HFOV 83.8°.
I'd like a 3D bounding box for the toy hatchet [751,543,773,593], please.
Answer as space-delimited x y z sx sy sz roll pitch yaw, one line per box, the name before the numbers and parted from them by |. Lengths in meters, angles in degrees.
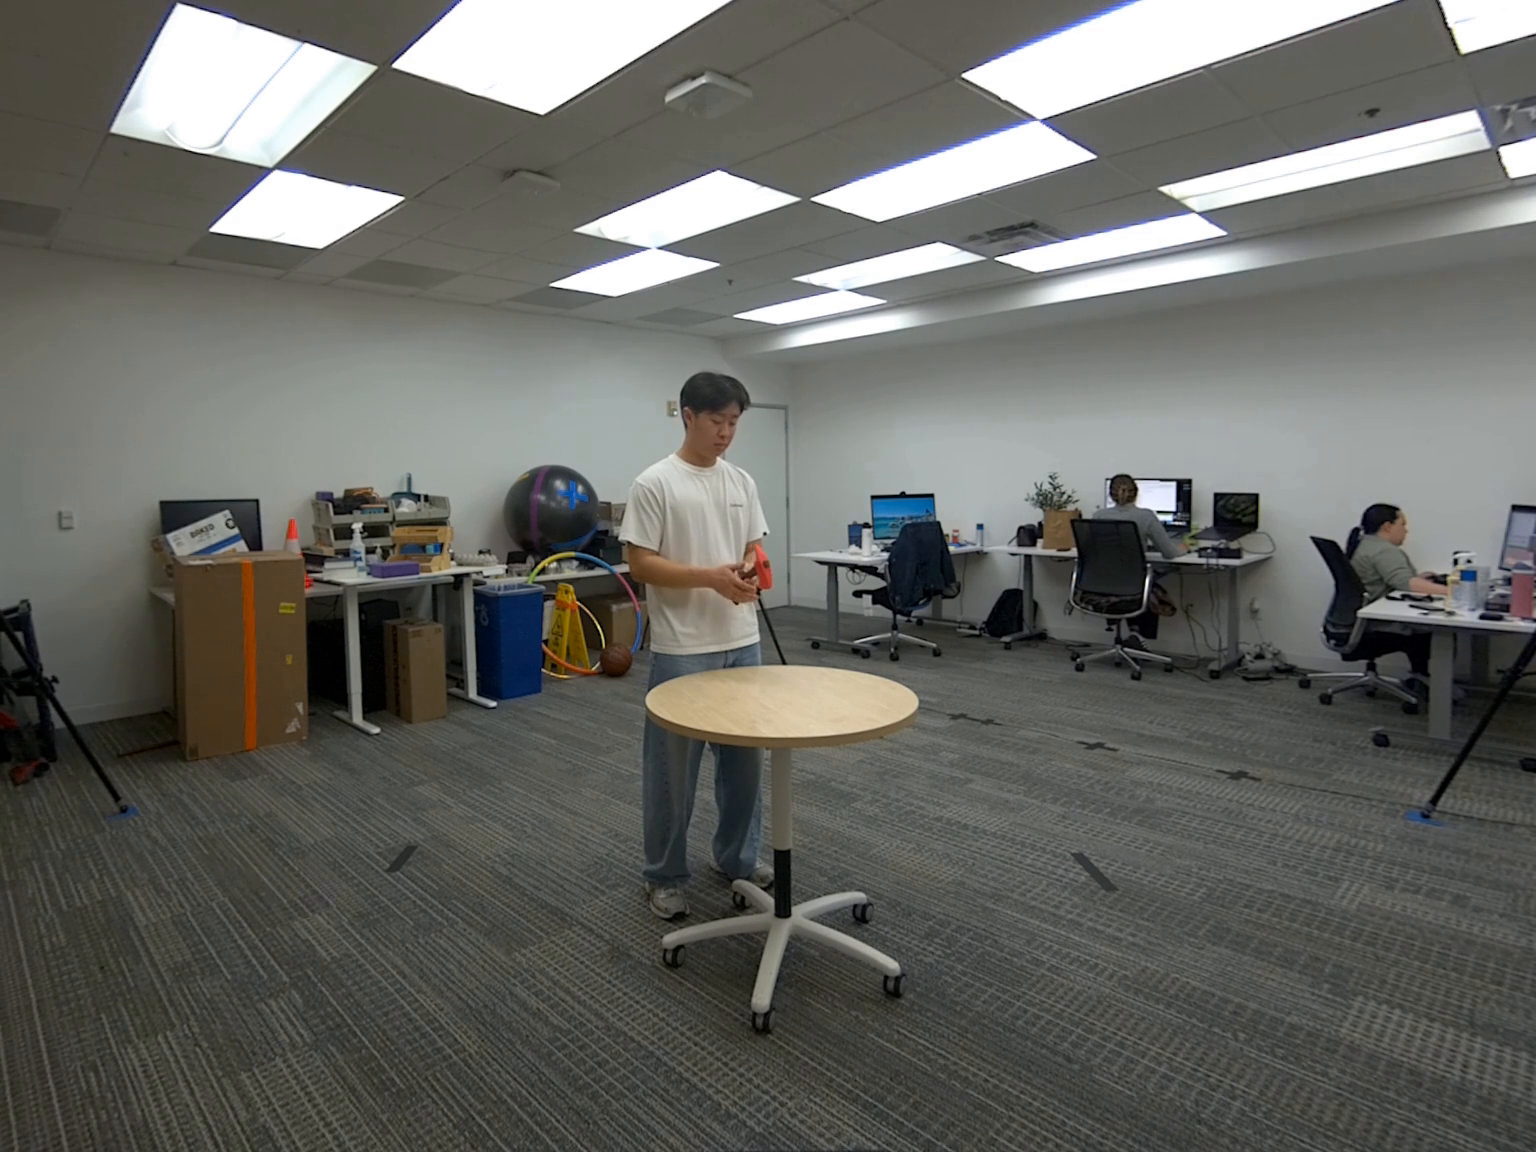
toy hatchet | -0.042 0.031 2.573 0.029 0.135 0.267 -13 -30 -29
